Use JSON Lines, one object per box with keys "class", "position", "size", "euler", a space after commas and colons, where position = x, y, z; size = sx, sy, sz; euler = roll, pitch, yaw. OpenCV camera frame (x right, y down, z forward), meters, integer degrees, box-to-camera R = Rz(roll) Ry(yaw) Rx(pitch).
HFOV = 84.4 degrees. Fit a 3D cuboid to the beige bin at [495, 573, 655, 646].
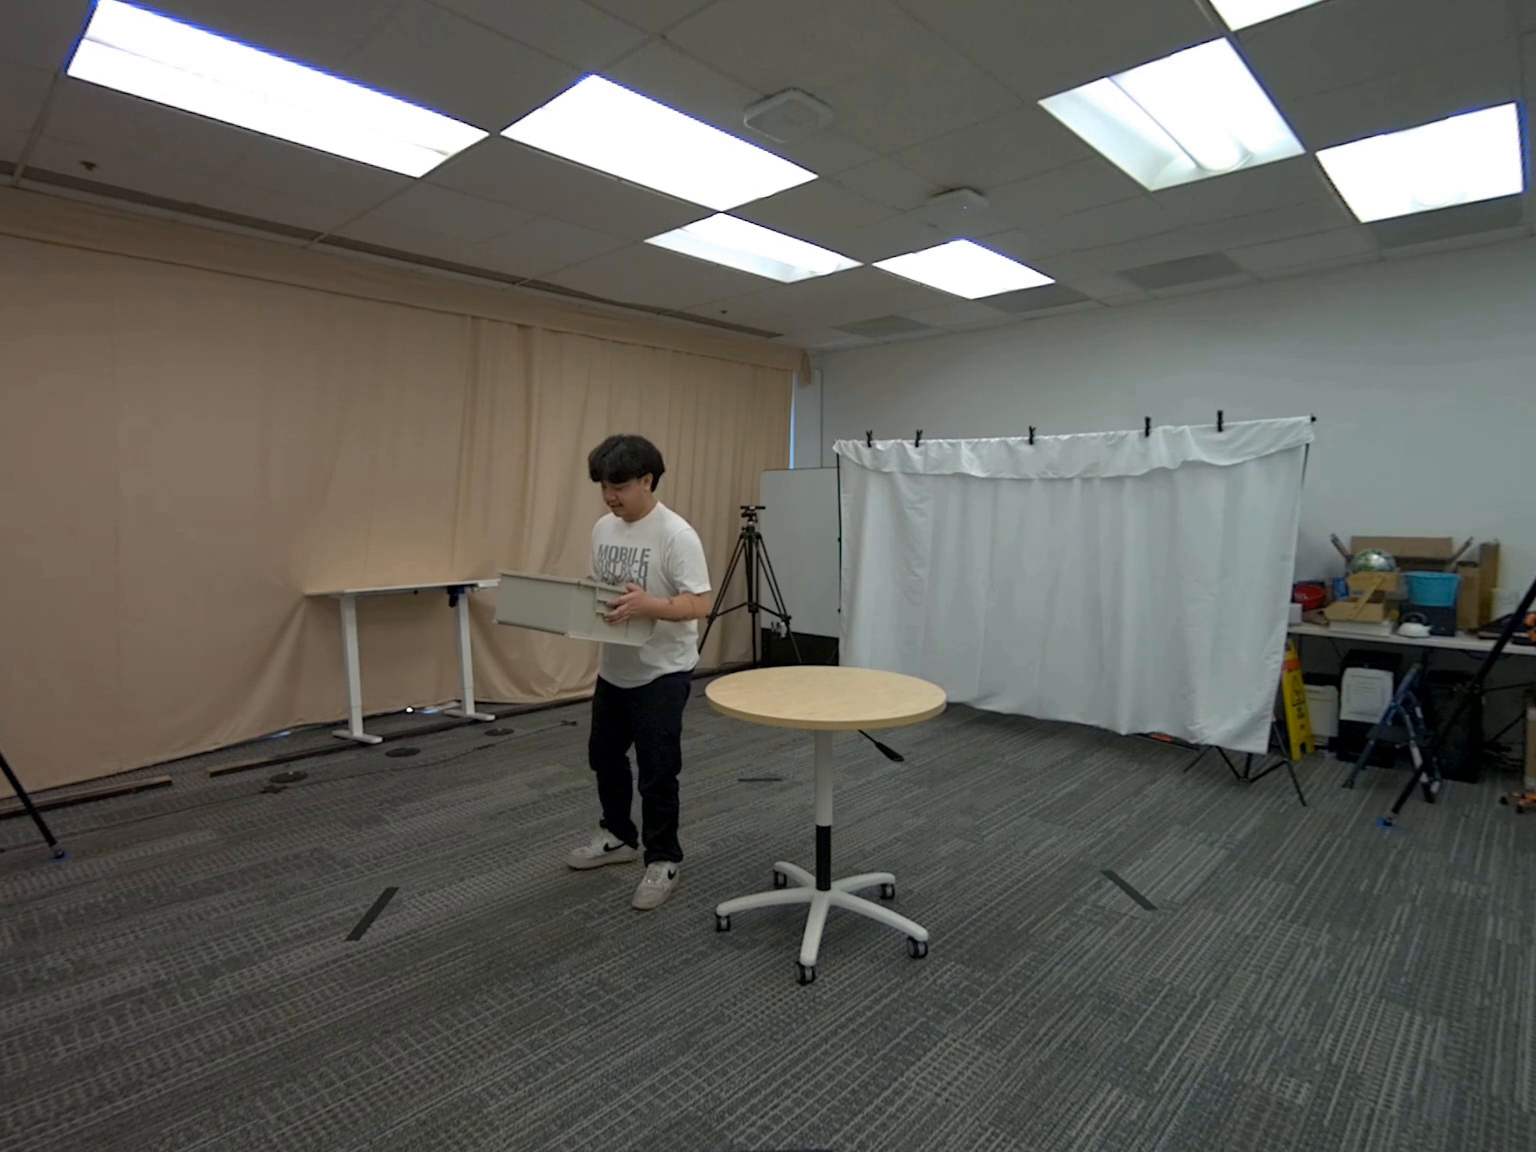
{"class": "beige bin", "position": [-0.649, 0.113, 2.824], "size": [0.436, 0.189, 0.364], "euler": [7, -3, 39]}
